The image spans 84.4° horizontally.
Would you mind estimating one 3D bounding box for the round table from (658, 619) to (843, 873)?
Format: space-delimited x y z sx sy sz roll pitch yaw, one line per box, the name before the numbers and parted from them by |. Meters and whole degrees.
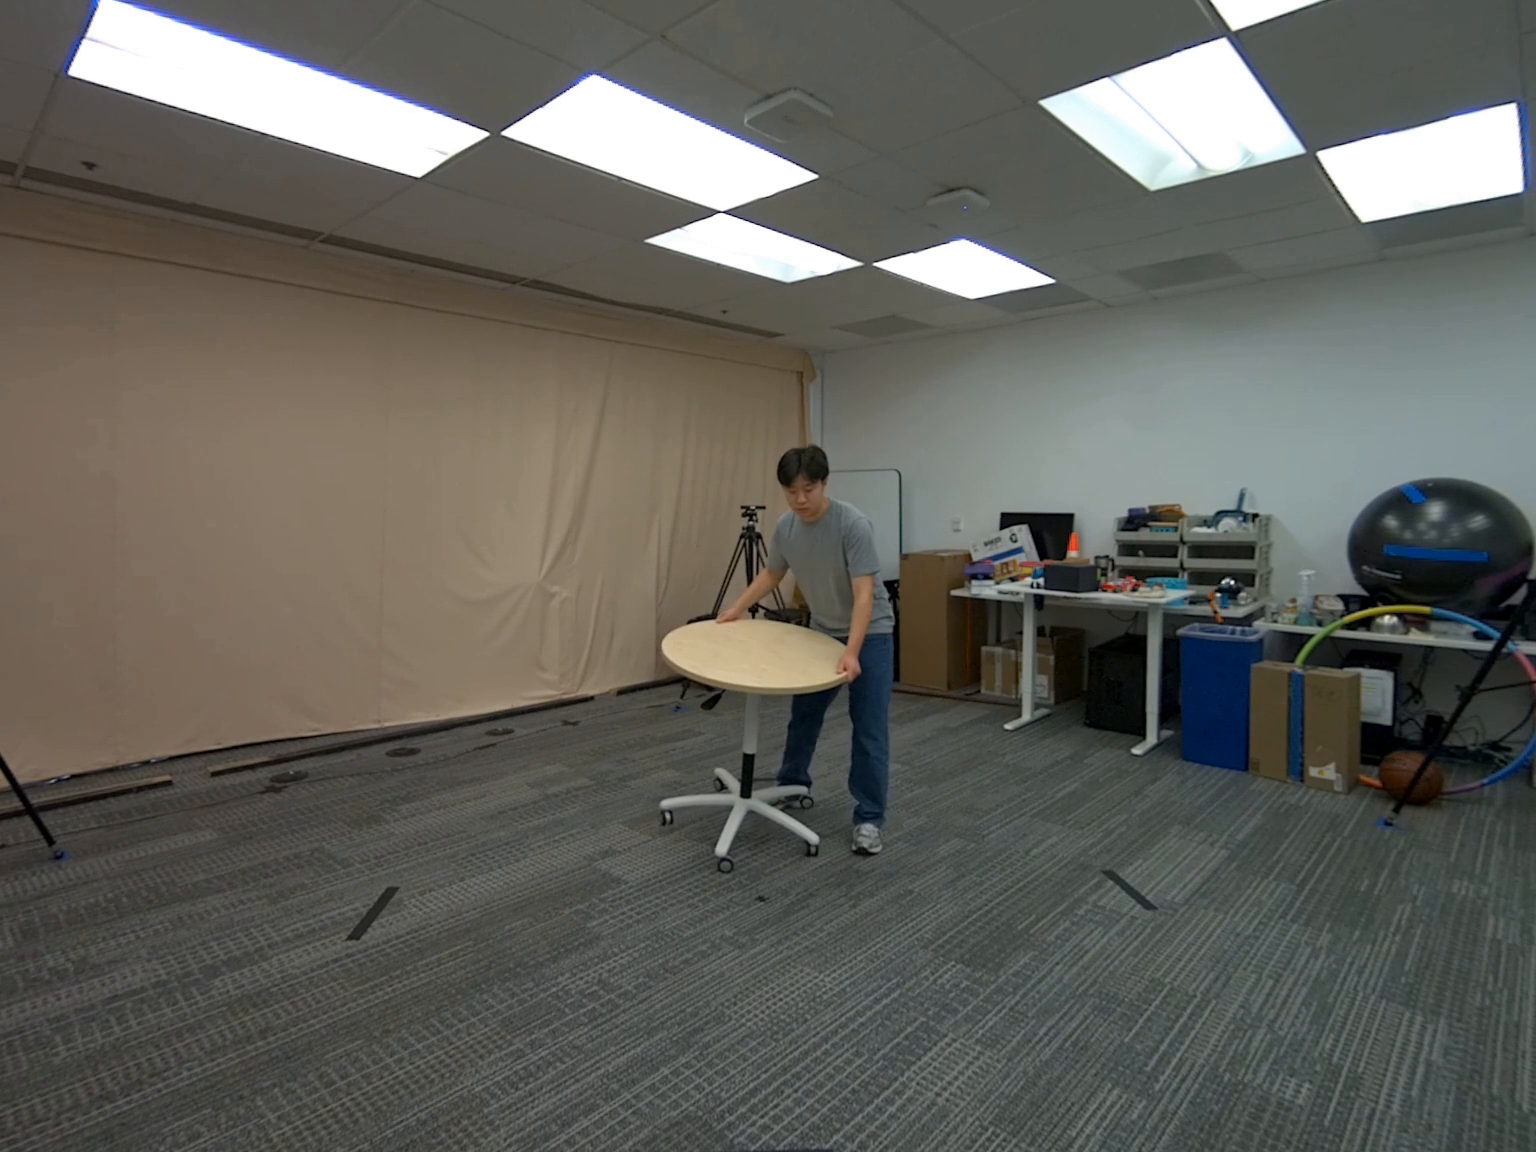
round table | -0.073 0.677 3.433 0.762 0.788 0.771 4 14 -3
